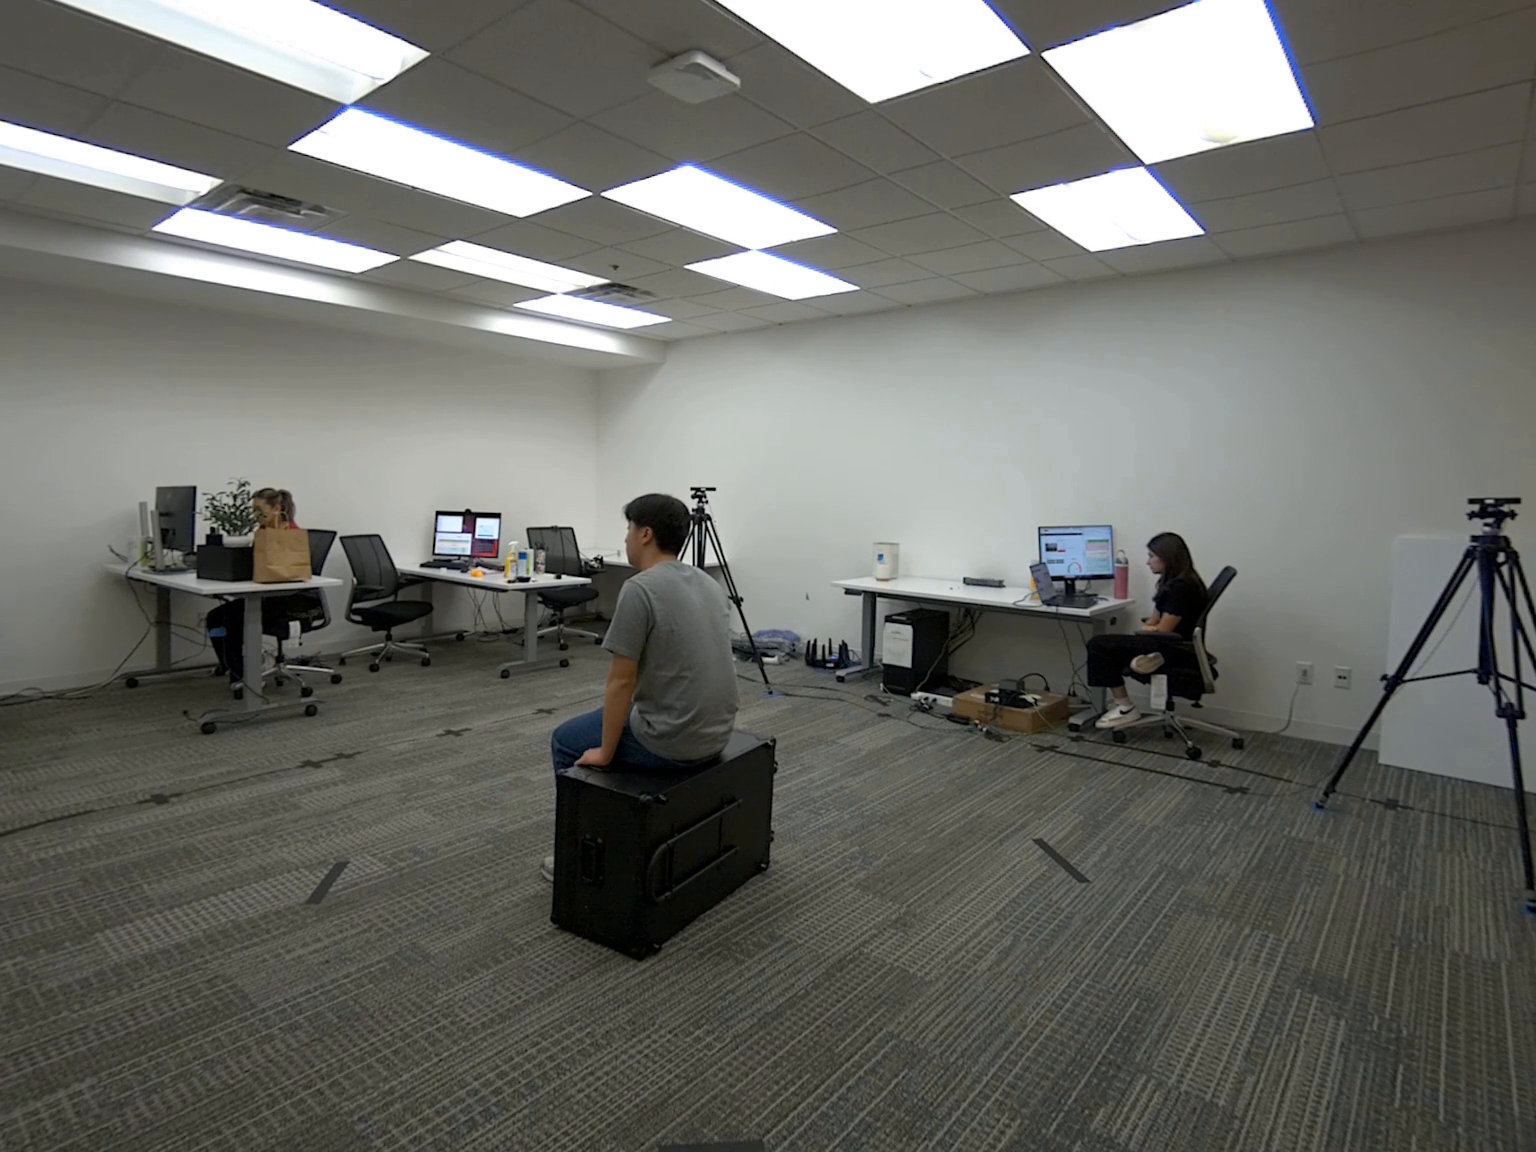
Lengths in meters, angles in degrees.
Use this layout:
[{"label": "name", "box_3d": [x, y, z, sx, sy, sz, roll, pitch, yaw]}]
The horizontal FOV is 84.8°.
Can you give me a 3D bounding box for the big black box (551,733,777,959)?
[{"label": "big black box", "box_3d": [-0.309, 0.830, 2.907, 0.408, 0.519, 0.840, 5, 6, 29]}]
